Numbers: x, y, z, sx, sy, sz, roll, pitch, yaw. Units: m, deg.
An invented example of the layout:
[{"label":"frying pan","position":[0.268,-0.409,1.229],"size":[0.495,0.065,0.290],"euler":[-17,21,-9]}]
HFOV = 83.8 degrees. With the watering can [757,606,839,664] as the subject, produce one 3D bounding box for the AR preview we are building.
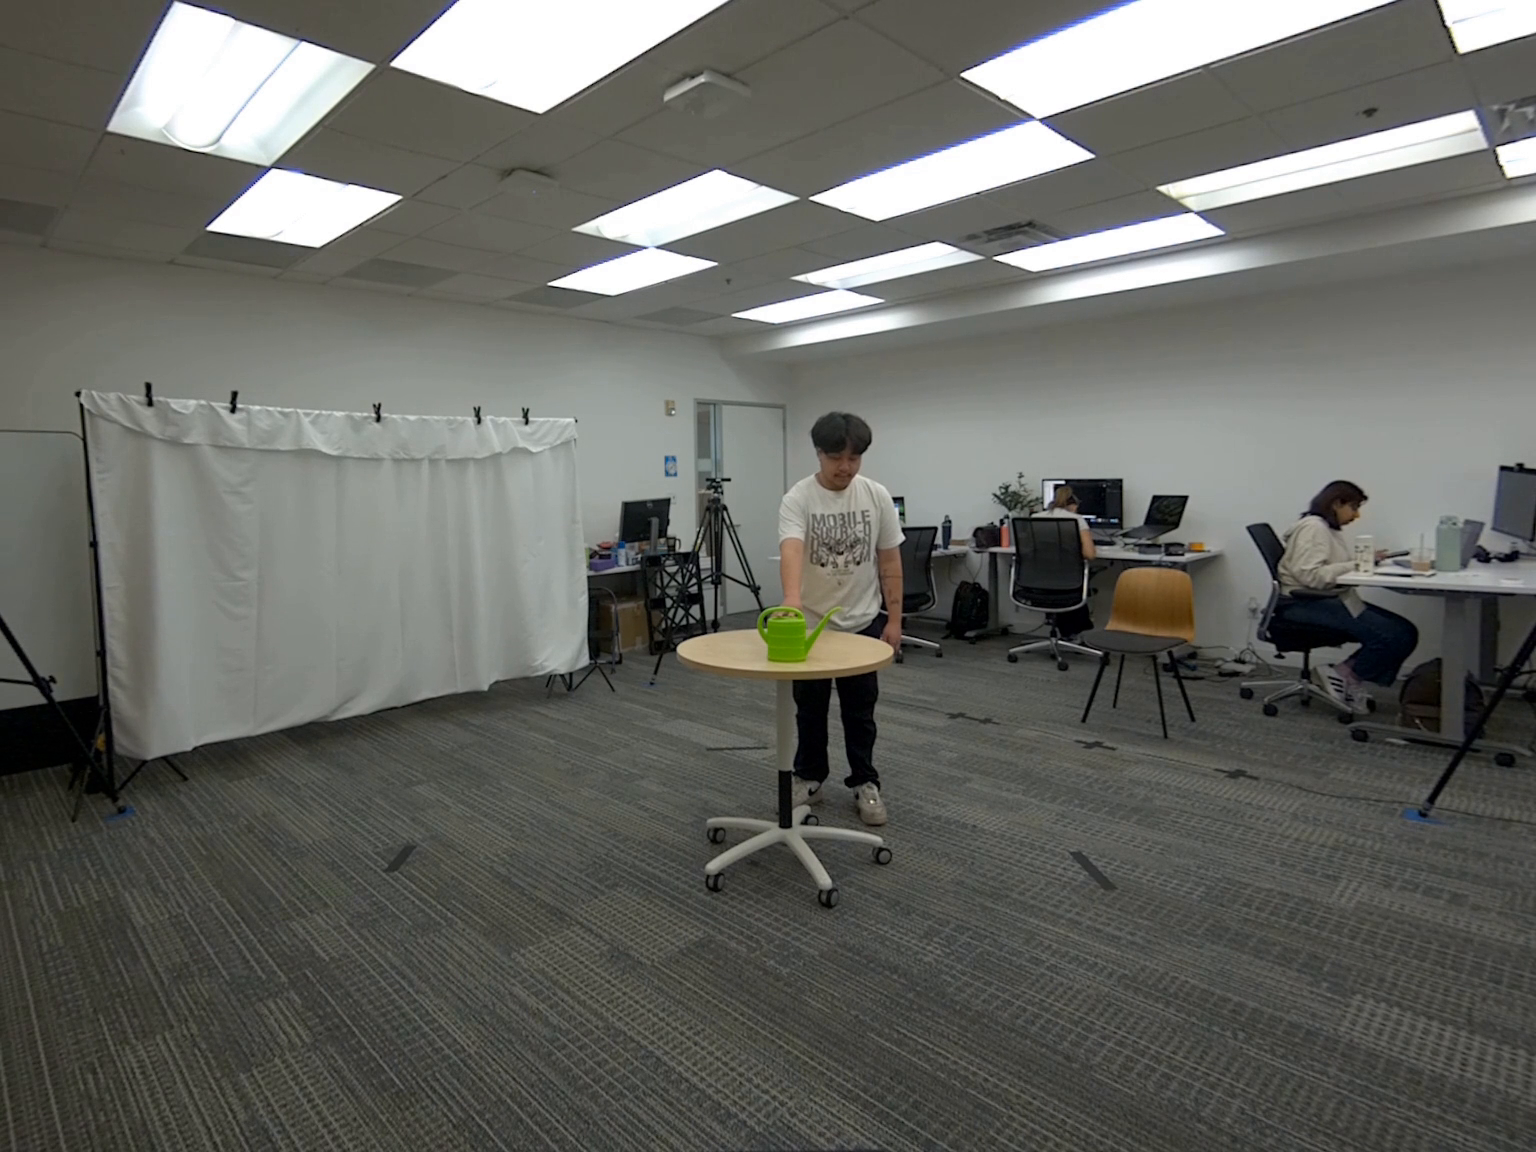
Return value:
[{"label":"watering can","position":[0.109,0.194,2.819],"size":[0.284,0.176,0.096],"euler":[1,5,23]}]
